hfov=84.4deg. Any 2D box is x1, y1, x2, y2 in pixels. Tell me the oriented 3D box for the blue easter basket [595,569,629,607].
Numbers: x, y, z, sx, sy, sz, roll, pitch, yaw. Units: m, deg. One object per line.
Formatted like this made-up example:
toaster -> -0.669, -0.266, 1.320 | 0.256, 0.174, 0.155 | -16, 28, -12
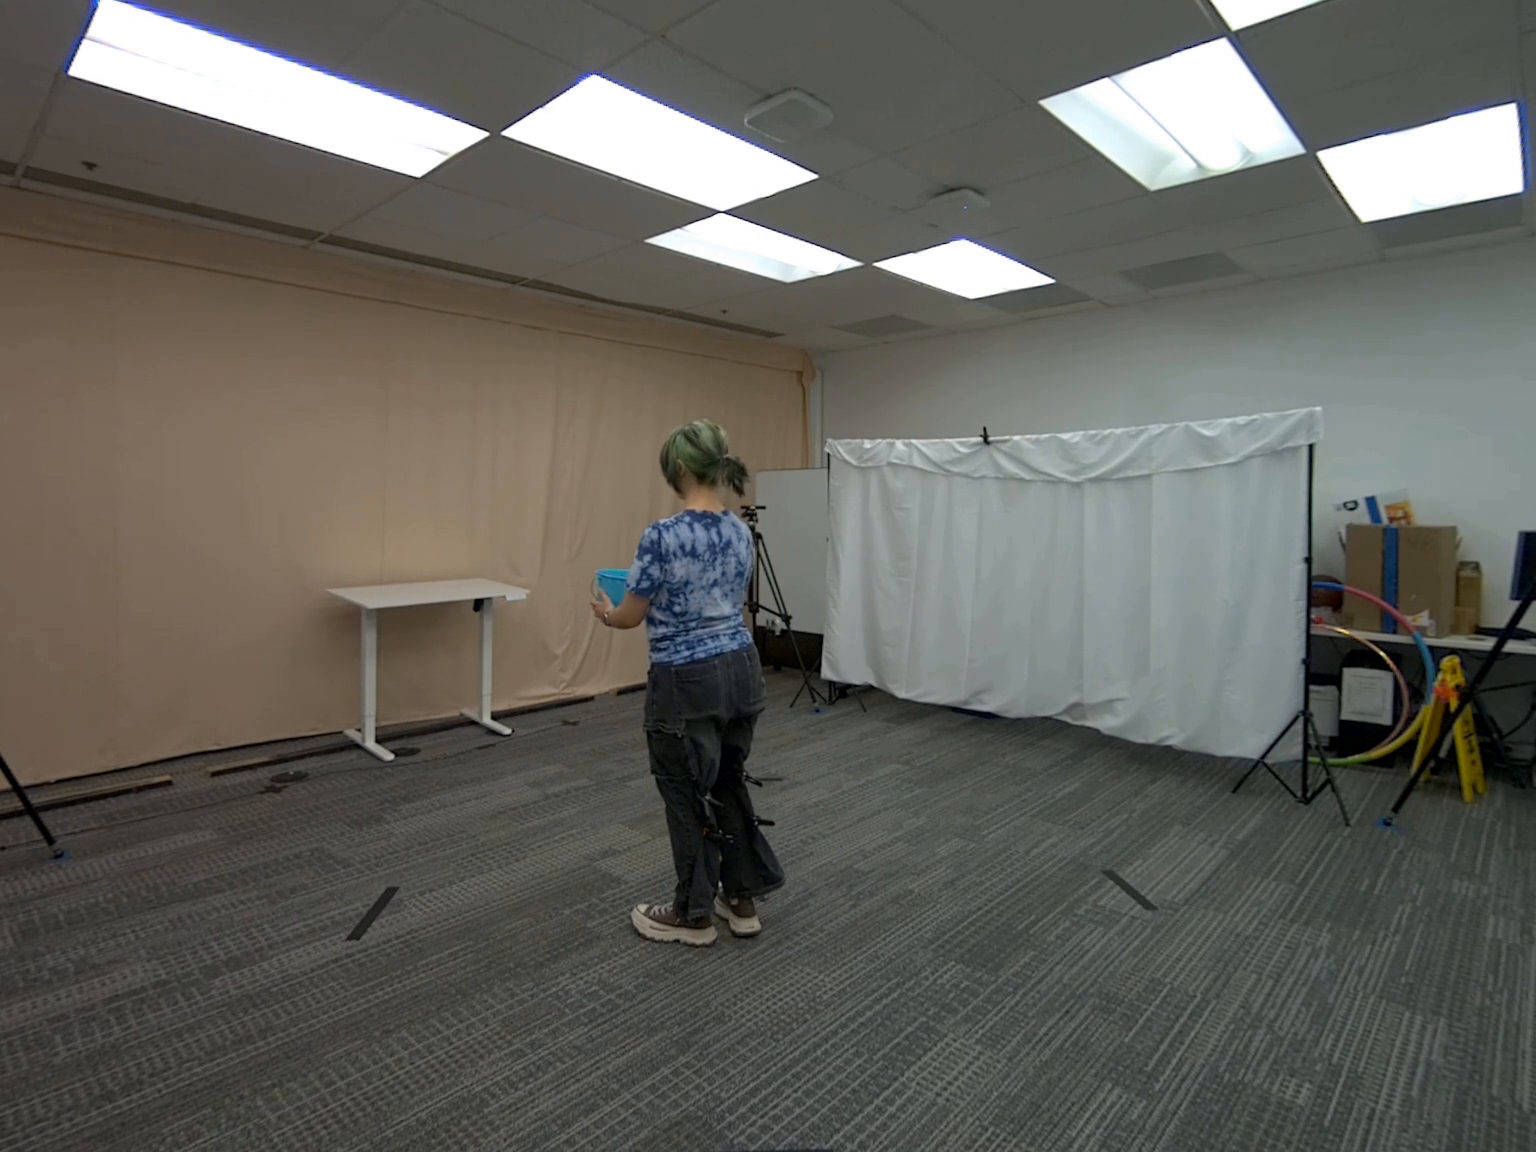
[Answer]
blue easter basket -> -0.500, 0.072, 2.983 | 0.243, 0.155, 0.245 | 3, 7, -2
